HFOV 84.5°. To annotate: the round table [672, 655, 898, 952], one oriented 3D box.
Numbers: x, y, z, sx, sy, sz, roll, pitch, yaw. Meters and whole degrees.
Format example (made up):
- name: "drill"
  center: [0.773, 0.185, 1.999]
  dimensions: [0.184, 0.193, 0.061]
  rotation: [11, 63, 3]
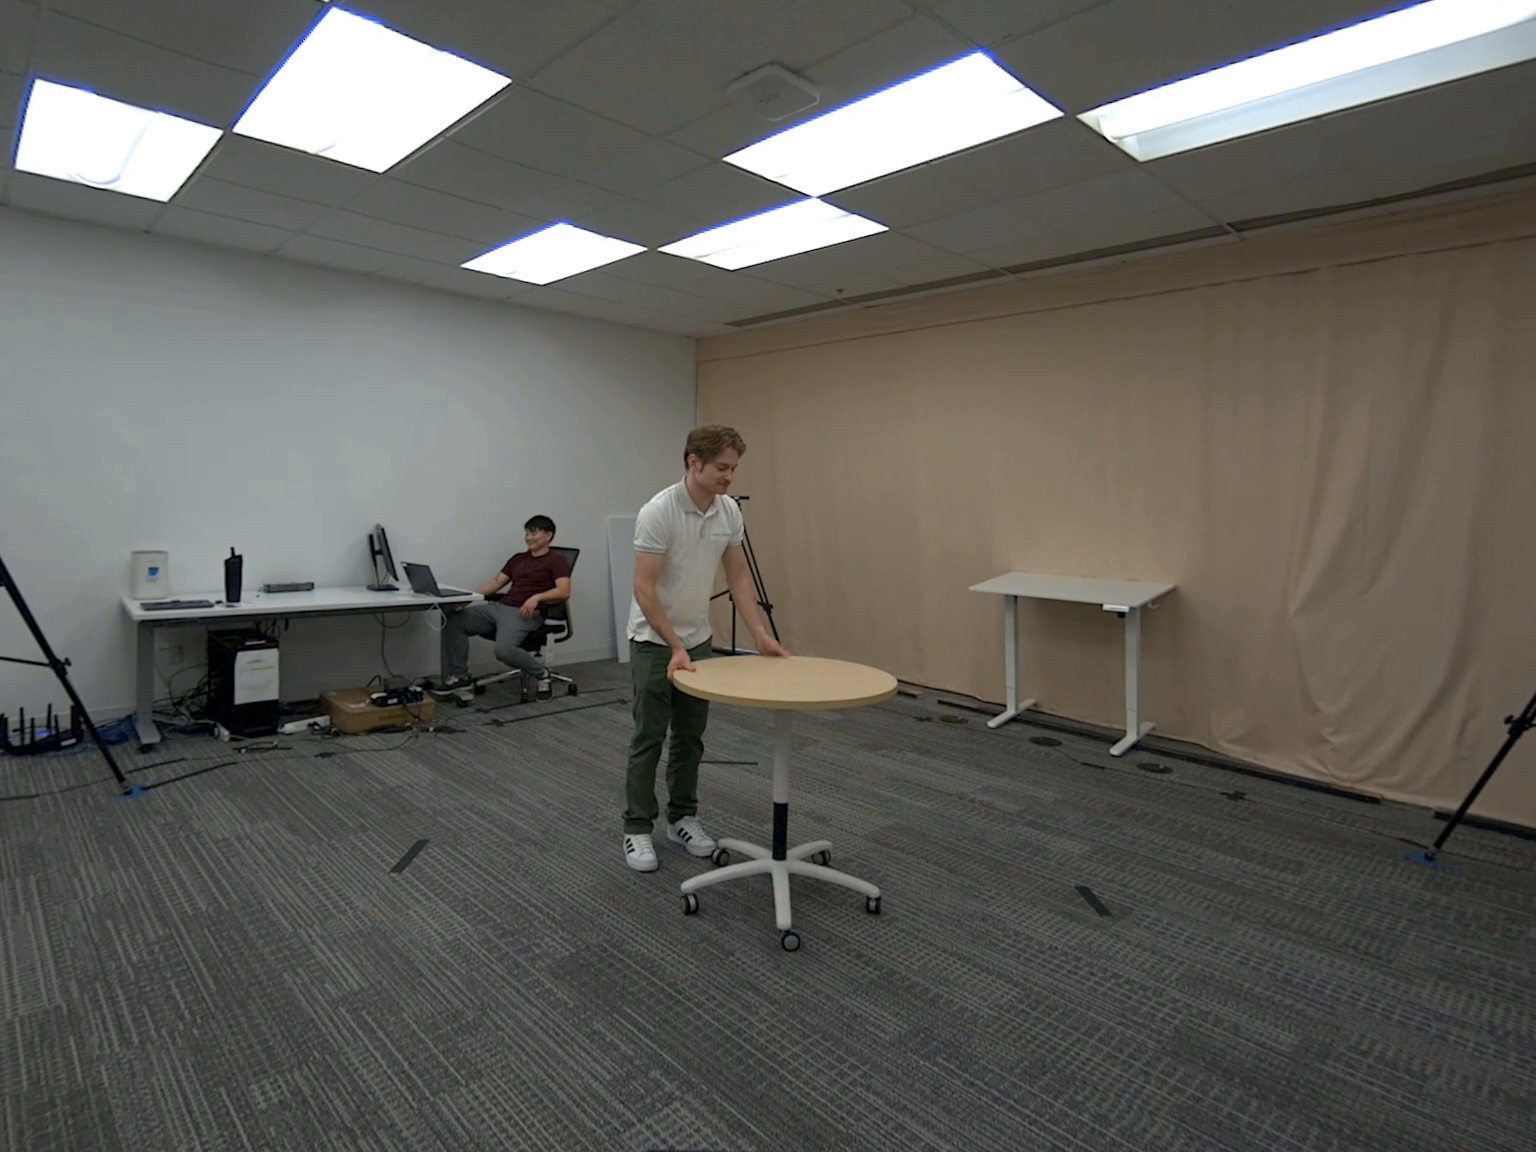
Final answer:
- name: "round table"
  center: [0.043, 0.736, 2.911]
  dimensions: [0.763, 0.792, 0.766]
  rotation: [1, 4, -1]
